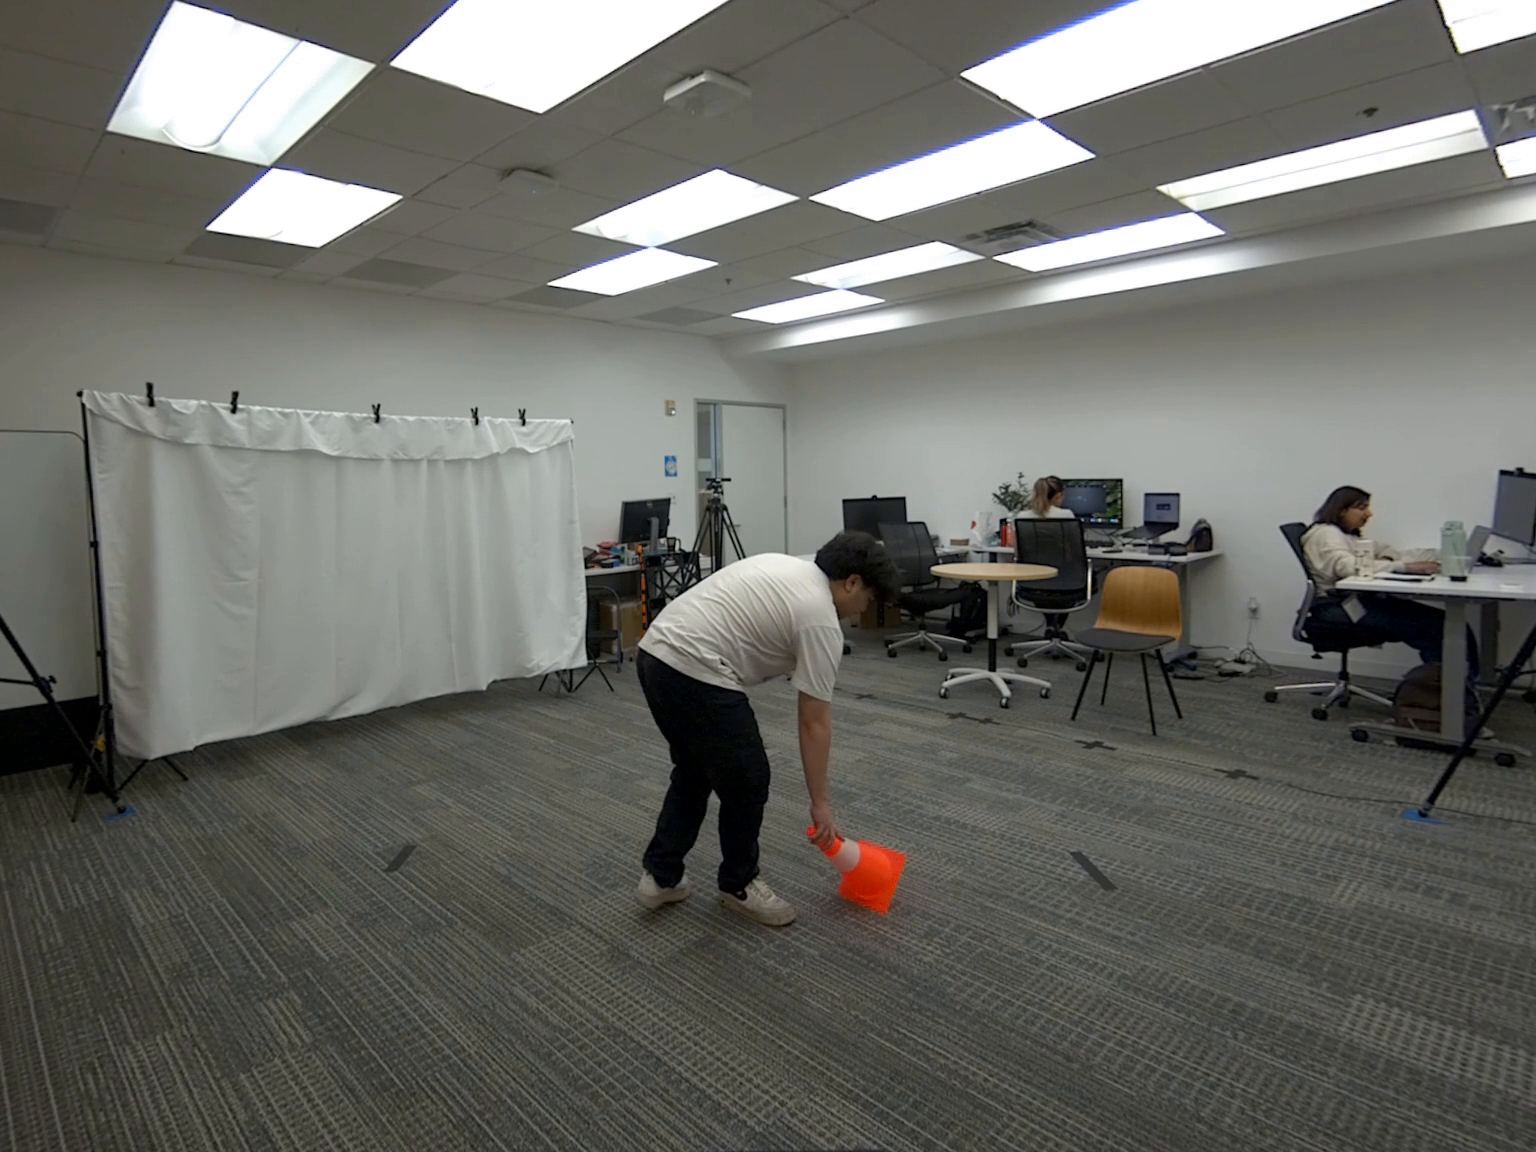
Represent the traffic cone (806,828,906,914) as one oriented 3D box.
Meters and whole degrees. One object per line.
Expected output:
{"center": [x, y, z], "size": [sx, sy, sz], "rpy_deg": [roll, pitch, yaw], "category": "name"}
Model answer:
{"center": [0.242, 0.883, 2.729], "size": [0.211, 0.204, 0.370], "rpy_deg": [2, -34, 50], "category": "traffic cone"}
